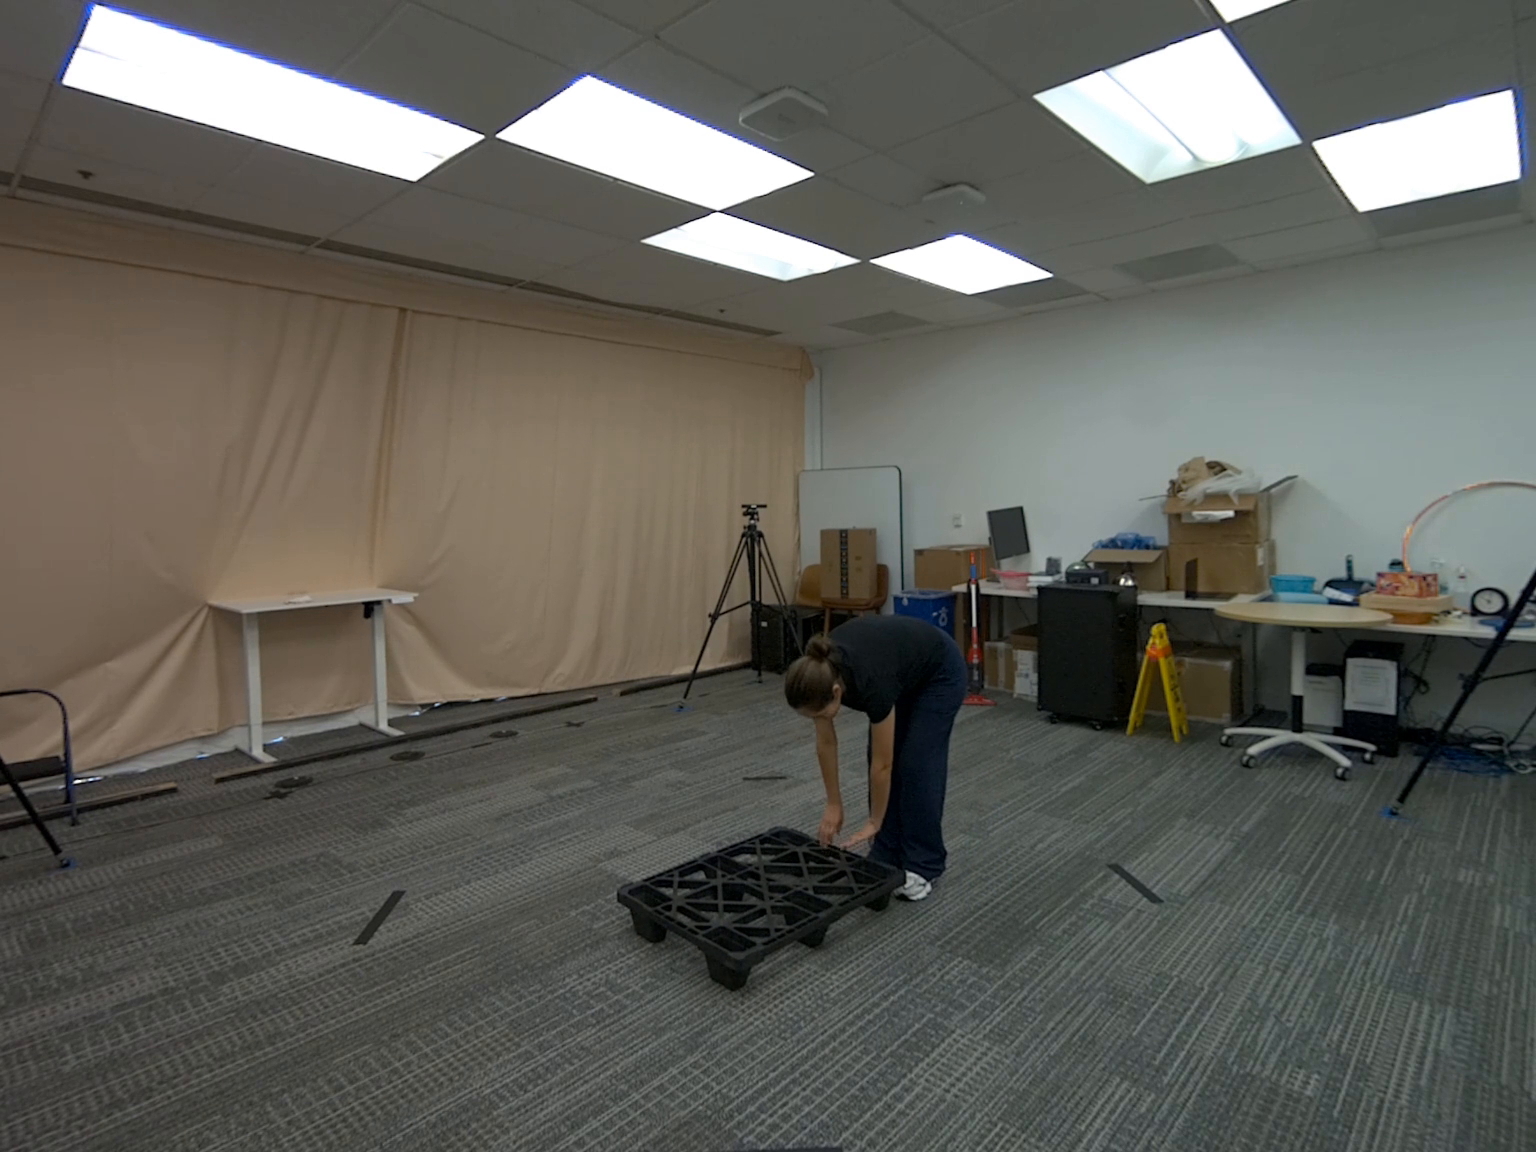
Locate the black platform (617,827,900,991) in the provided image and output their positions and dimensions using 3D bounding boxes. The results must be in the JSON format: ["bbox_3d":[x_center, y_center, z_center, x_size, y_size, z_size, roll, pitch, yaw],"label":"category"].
[{"bbox_3d":[-0.007,1.090,2.820,0.781,0.143,0.625,-5,6,-44],"label":"black platform"}]
